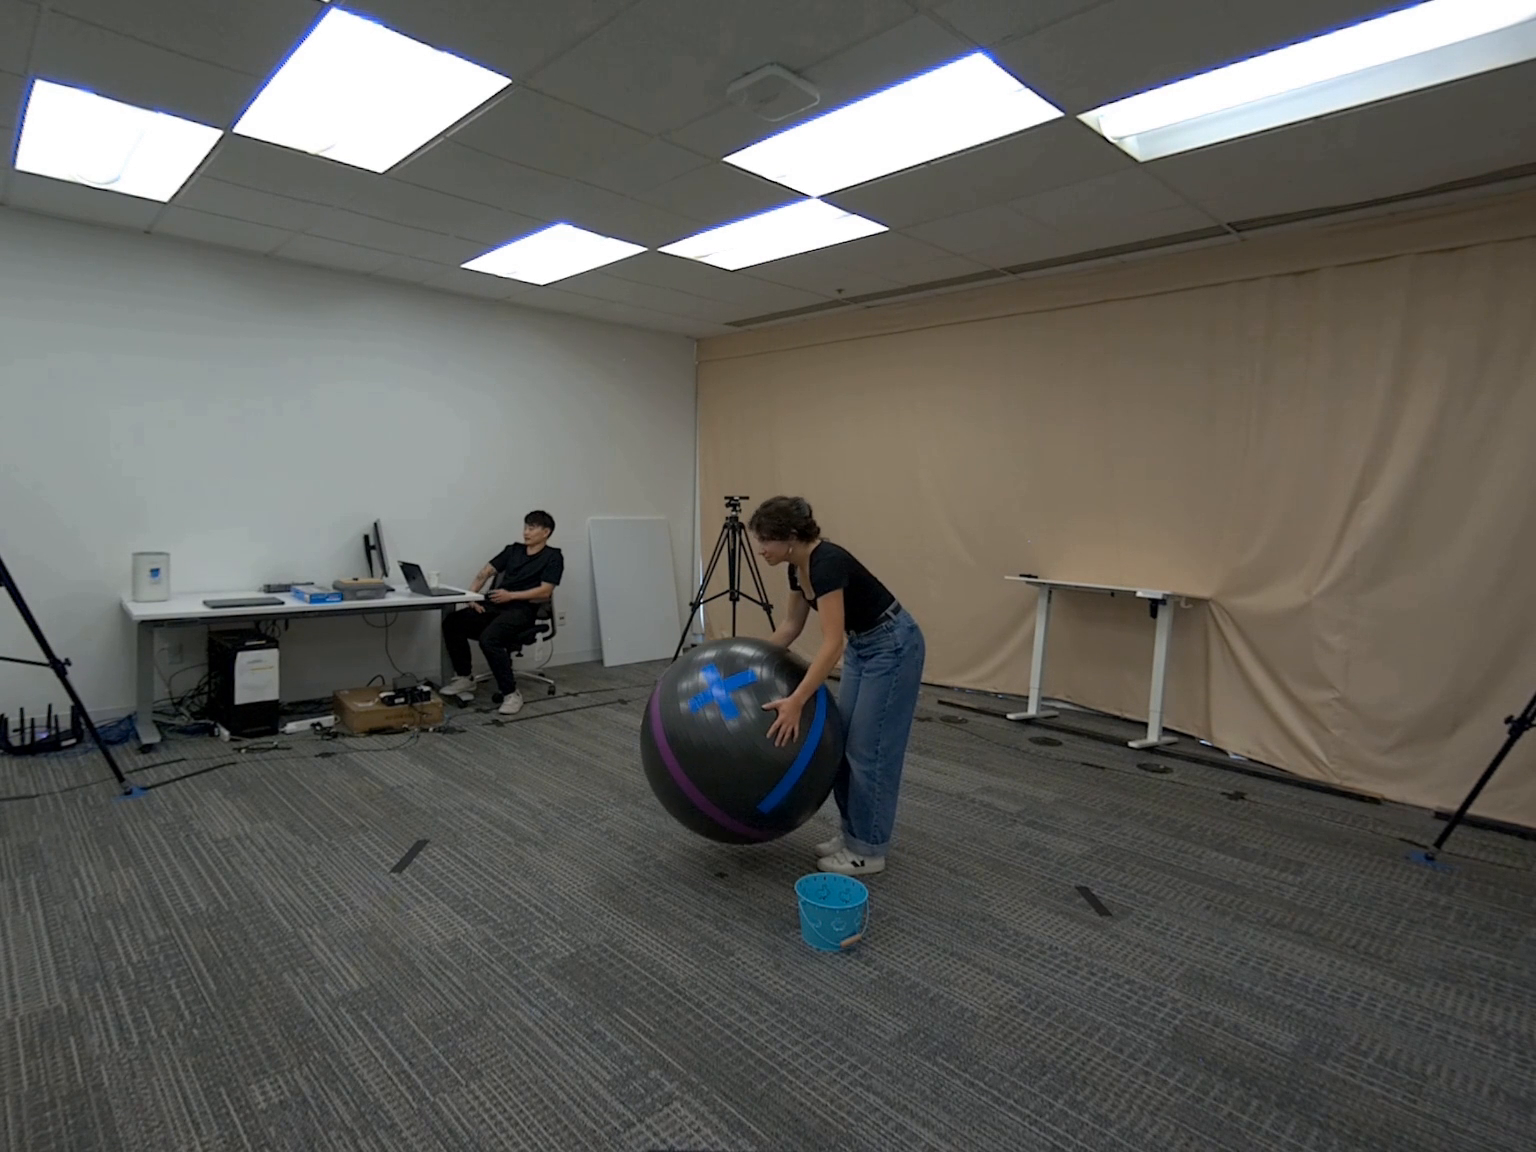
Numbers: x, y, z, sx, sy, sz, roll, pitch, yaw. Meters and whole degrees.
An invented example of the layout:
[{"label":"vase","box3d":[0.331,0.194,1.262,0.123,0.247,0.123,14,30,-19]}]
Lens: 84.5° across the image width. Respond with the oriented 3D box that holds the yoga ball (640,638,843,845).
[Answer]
[{"label":"yoga ball","box3d":[-0.112,0.620,3.165,0.757,0.756,0.761,1,4,-1]}]
